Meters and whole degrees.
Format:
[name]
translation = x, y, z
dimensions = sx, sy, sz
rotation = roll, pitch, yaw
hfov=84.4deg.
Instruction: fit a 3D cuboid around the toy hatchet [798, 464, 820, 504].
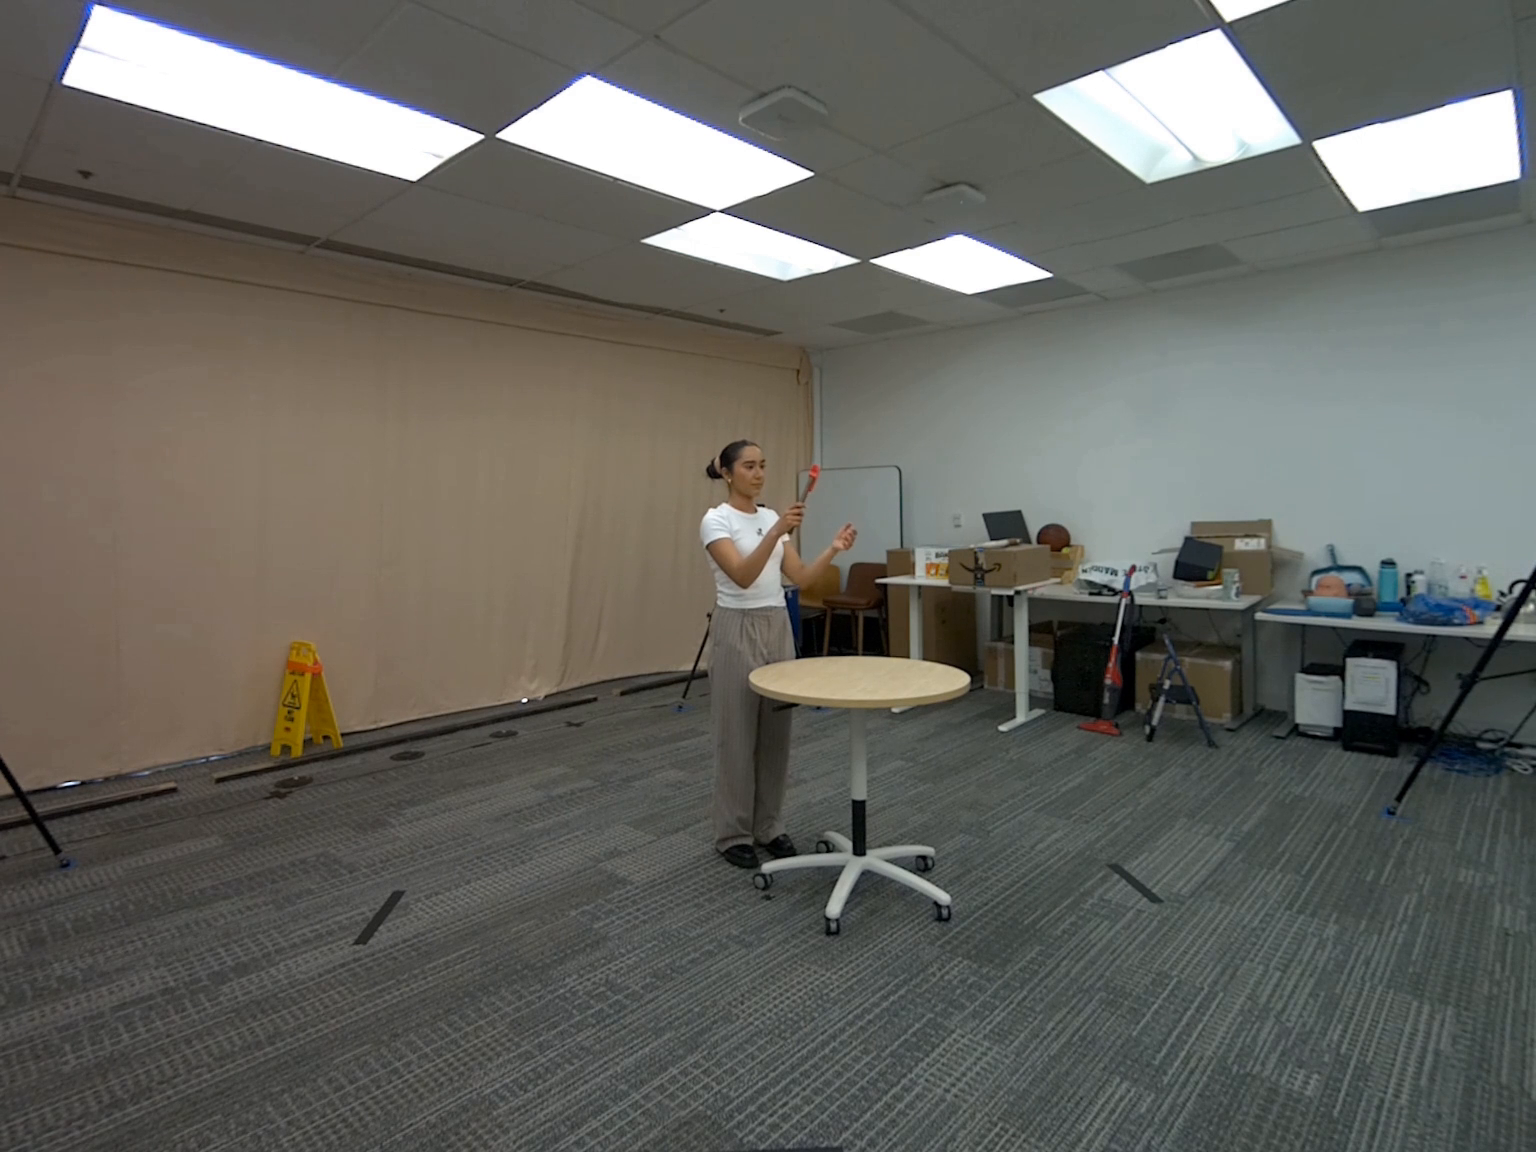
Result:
[toy hatchet]
translation = 0.136, -0.271, 3.024
dimensions = 0.030, 0.270, 0.129
rotation = 21, 0, 8
